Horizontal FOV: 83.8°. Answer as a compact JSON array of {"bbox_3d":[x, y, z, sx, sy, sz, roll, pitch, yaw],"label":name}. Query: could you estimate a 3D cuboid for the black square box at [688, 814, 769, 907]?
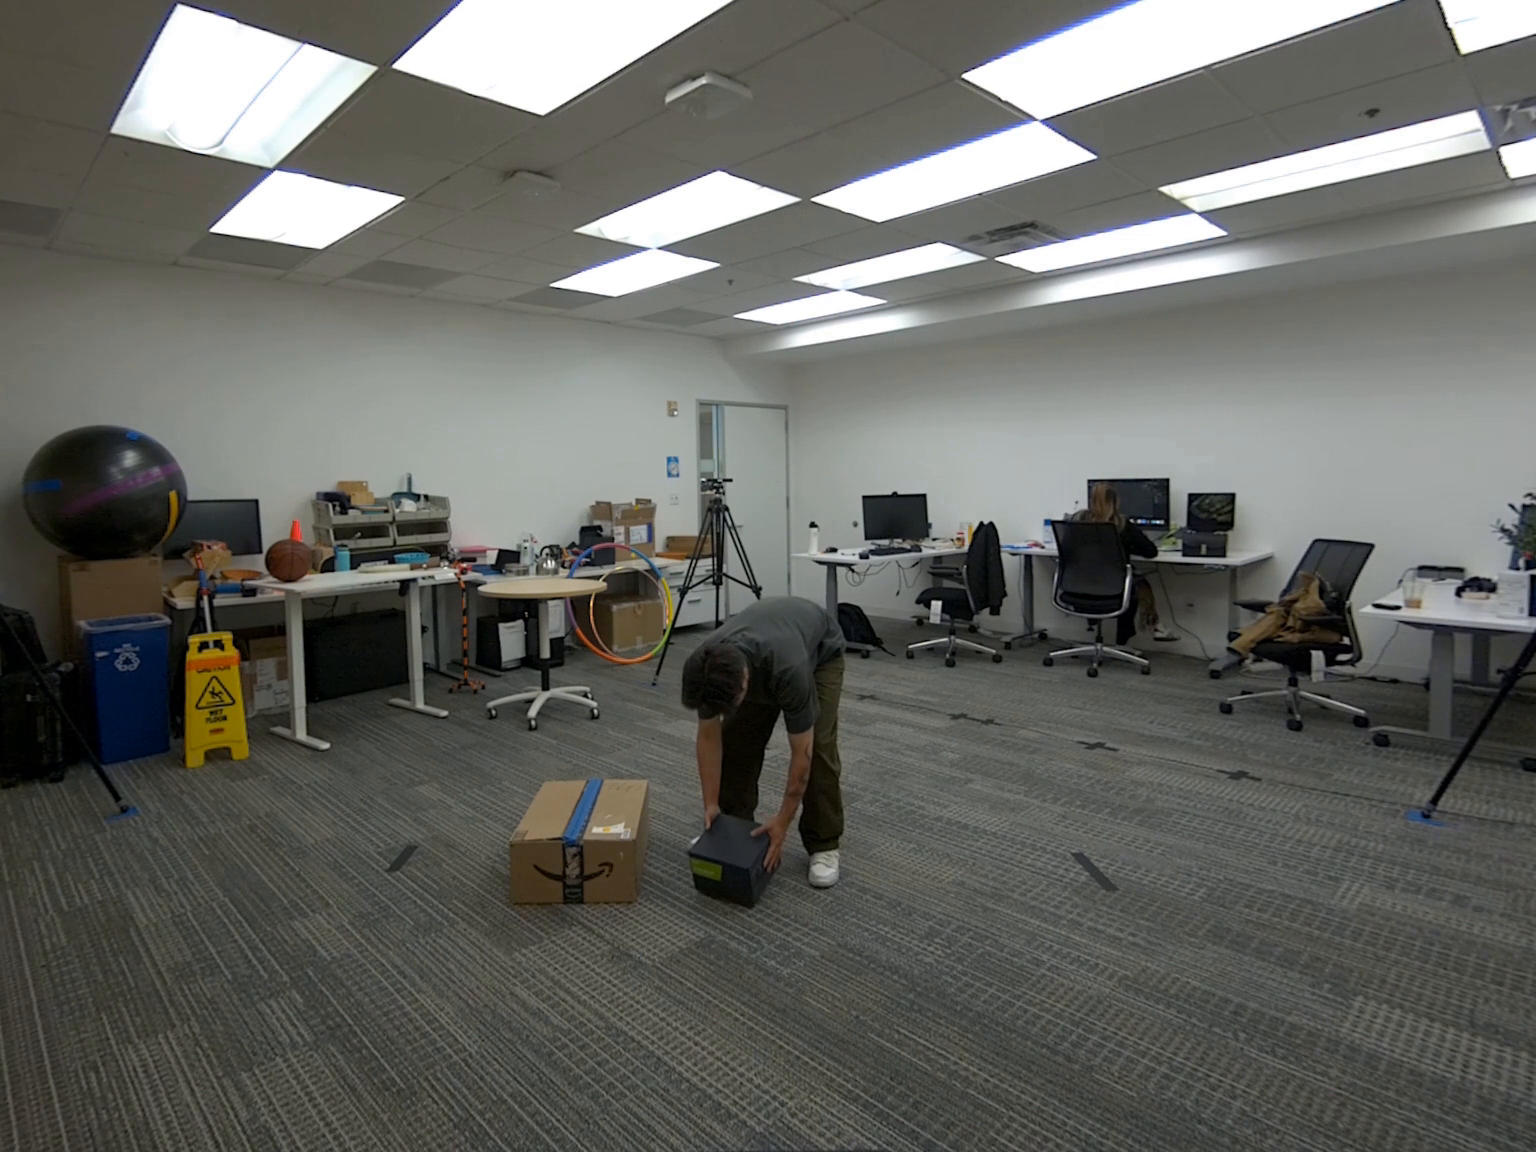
[{"bbox_3d":[-0.116,0.957,2.886,0.233,0.153,0.216,5,23,25],"label":"black square box"}]
